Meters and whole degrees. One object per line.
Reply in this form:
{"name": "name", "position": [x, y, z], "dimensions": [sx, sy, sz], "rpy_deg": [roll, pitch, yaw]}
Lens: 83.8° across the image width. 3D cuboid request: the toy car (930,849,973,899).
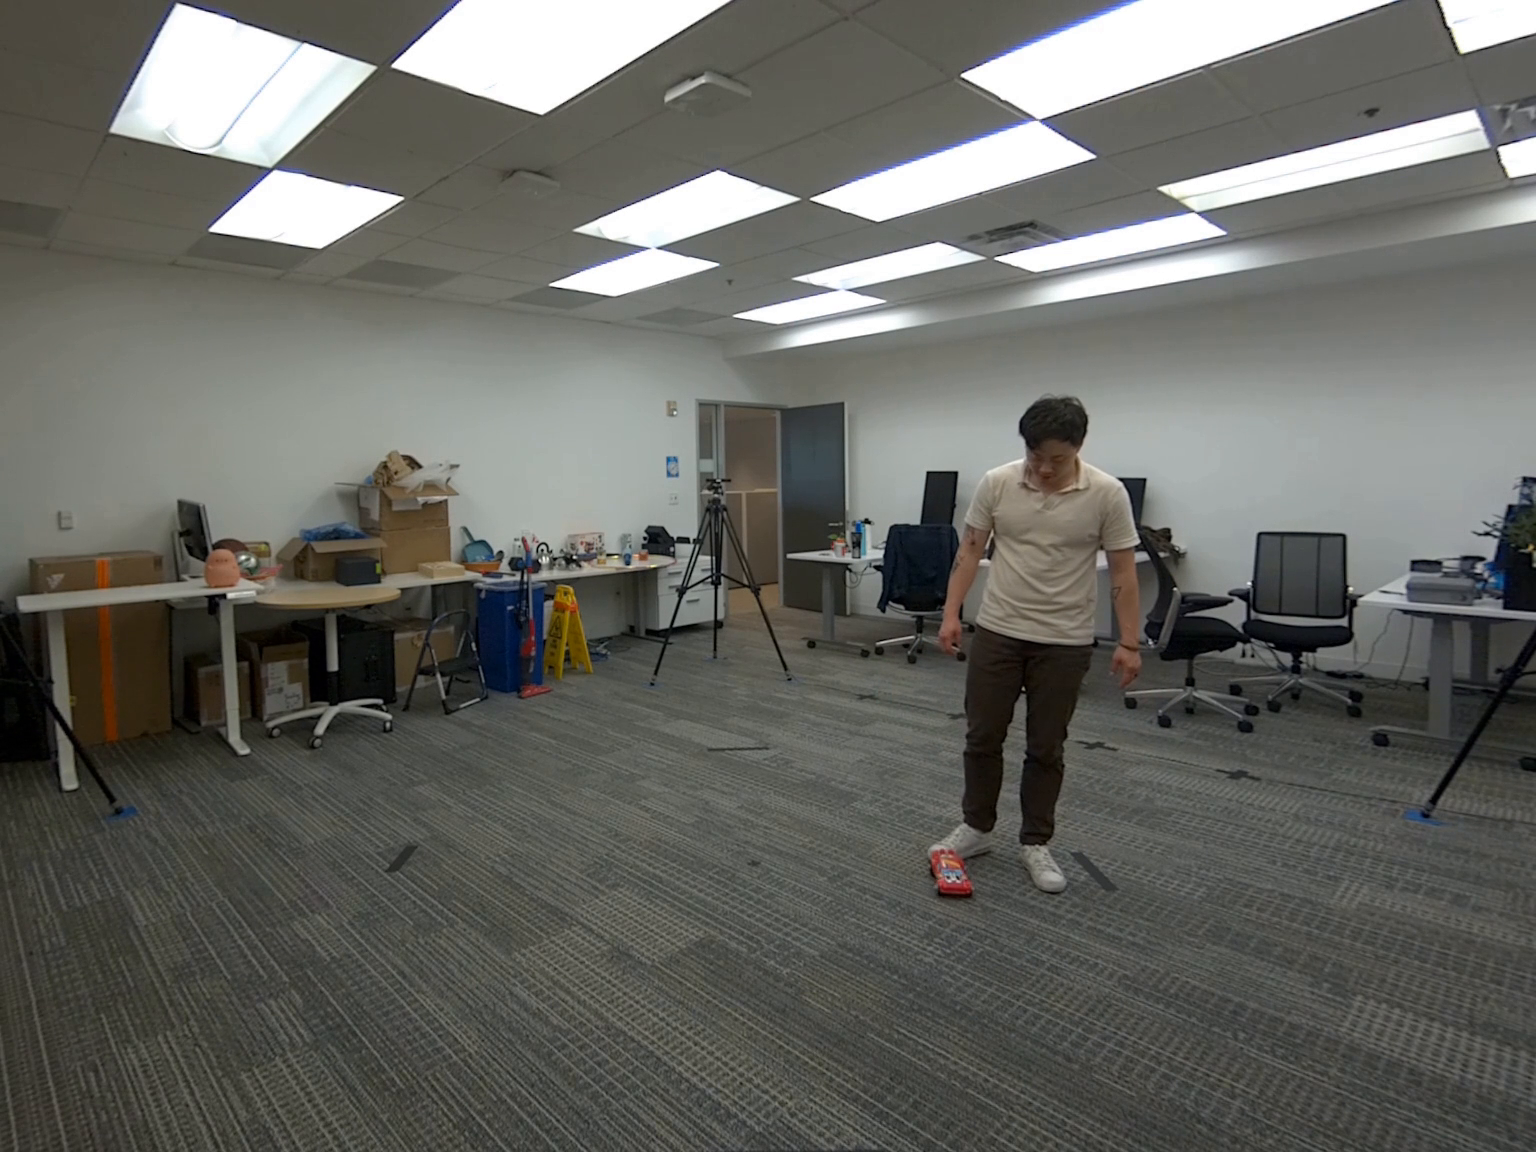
{"name": "toy car", "position": [0.628, 1.021, 2.929], "dimensions": [0.131, 0.082, 0.257], "rpy_deg": [-2, 17, 3]}
